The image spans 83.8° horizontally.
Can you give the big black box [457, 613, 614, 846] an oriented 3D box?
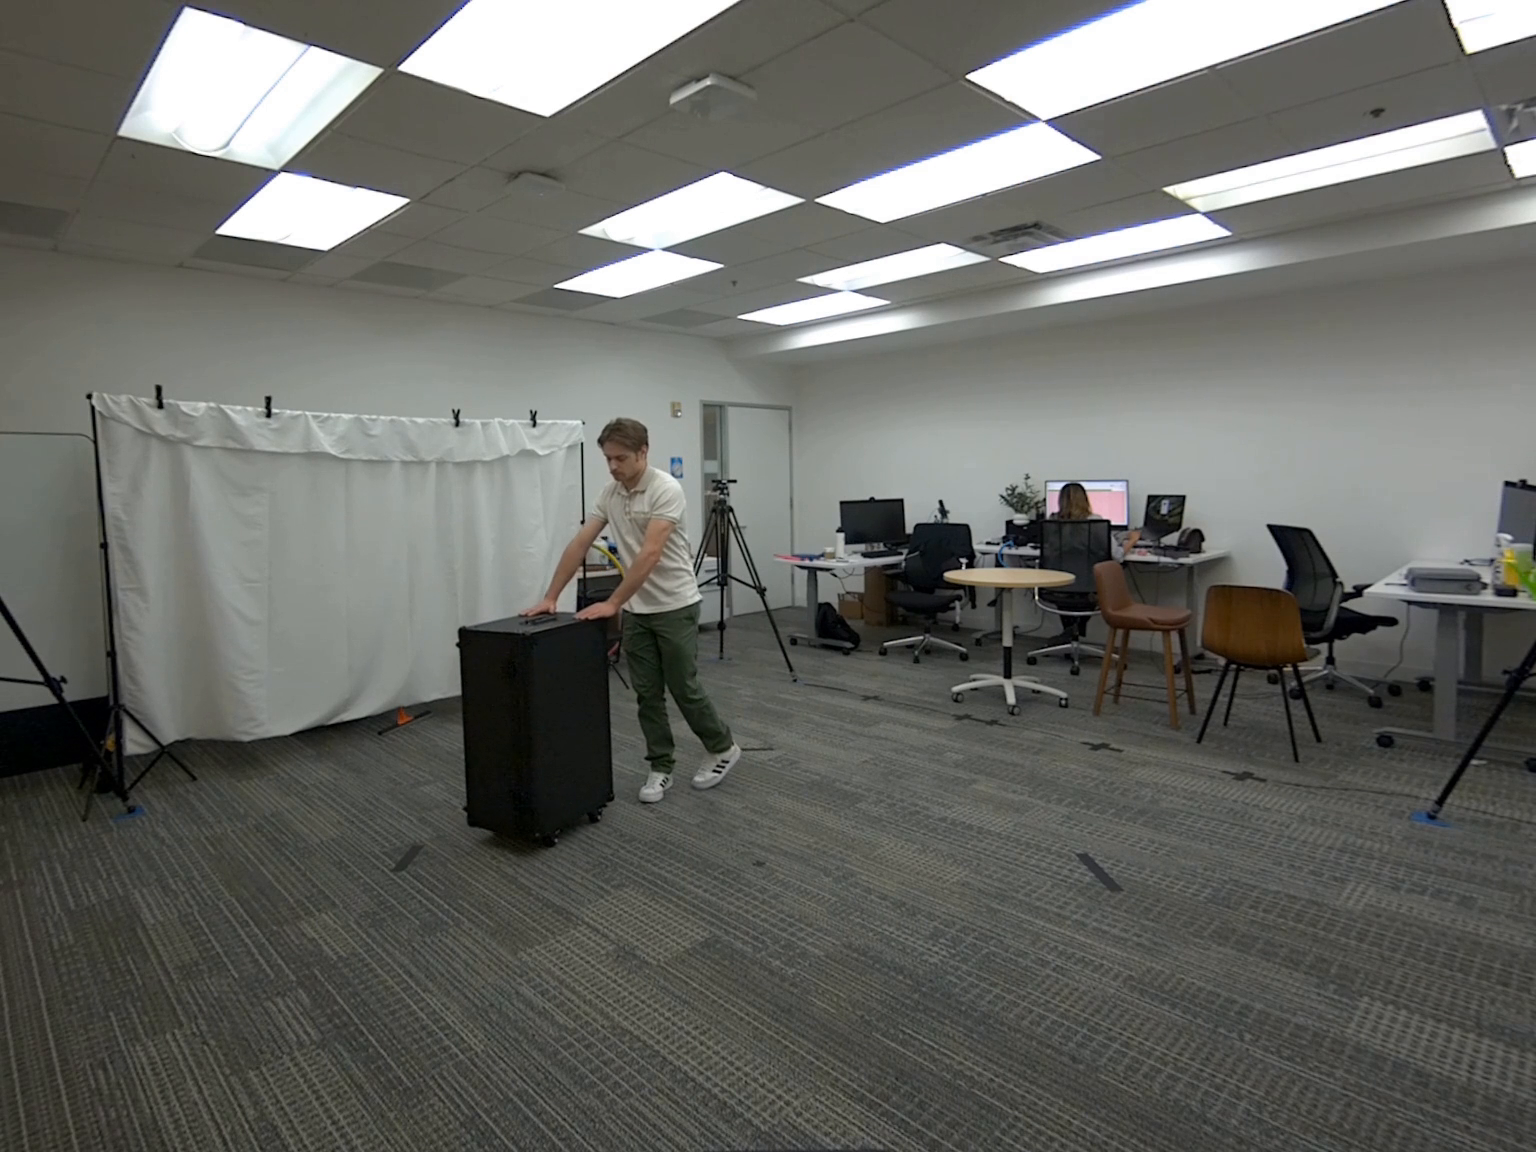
[{"bbox_3d":[-0.926,0.605,3.437,0.395,0.866,0.512,1,4,27],"label":"big black box"}]
